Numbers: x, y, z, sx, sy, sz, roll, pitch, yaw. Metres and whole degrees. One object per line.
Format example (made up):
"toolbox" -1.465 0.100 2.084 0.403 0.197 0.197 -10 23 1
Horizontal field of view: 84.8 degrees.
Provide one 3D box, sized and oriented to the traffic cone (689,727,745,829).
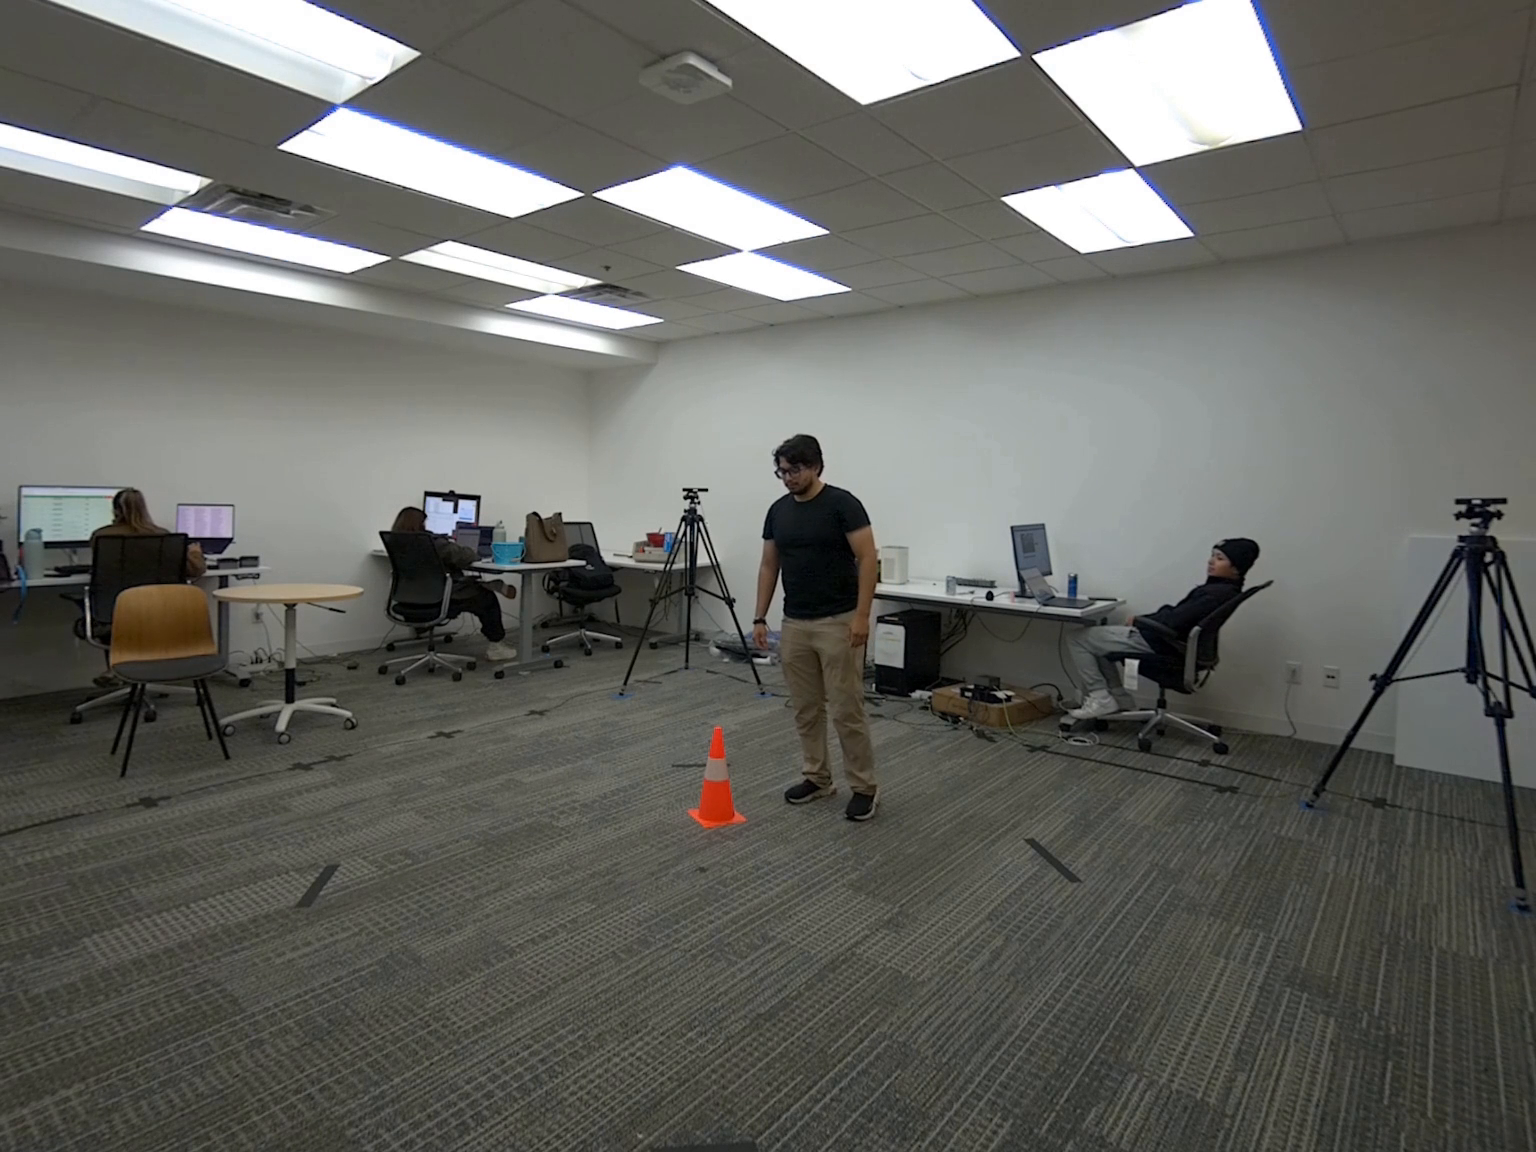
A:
"traffic cone" -0.223 0.836 3.625 0.199 0.382 0.210 1 4 -31
